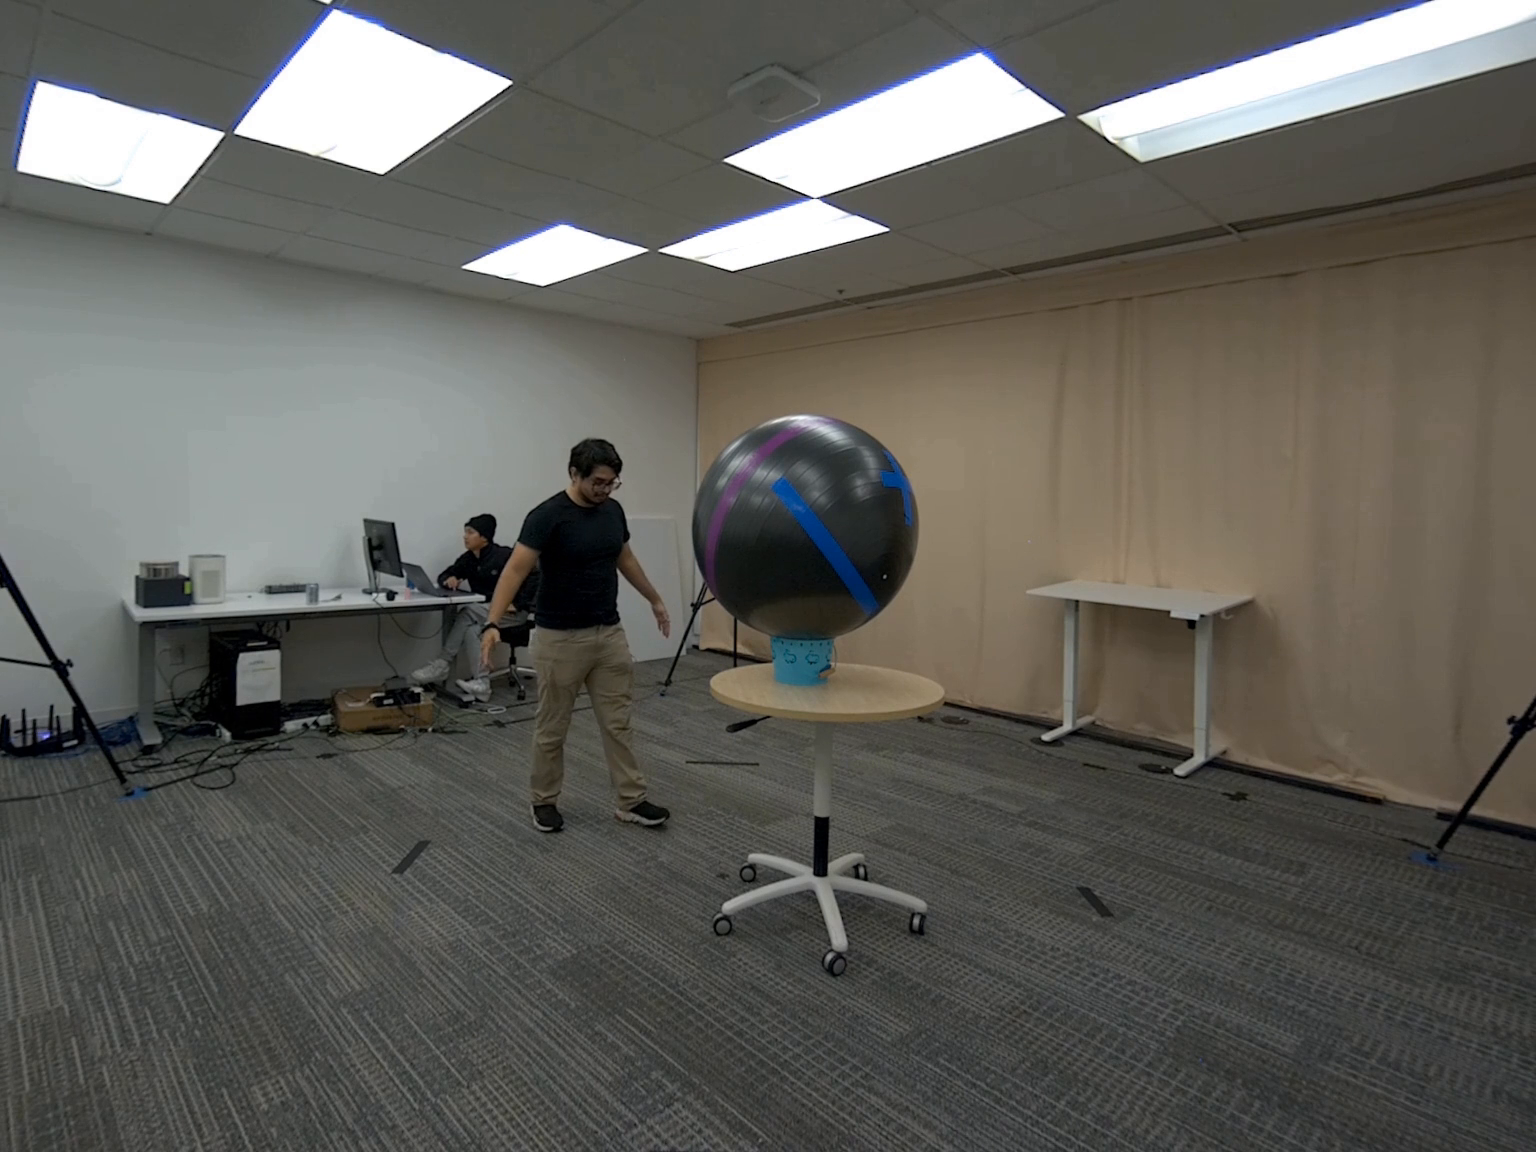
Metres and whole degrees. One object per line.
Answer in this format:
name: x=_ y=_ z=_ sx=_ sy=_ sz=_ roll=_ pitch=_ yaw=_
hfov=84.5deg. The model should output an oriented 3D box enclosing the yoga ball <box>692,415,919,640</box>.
yoga ball: x=0.116 y=-0.156 z=2.838 sx=0.757 sy=0.756 sz=0.761 roll=1 pitch=4 yaw=-1
